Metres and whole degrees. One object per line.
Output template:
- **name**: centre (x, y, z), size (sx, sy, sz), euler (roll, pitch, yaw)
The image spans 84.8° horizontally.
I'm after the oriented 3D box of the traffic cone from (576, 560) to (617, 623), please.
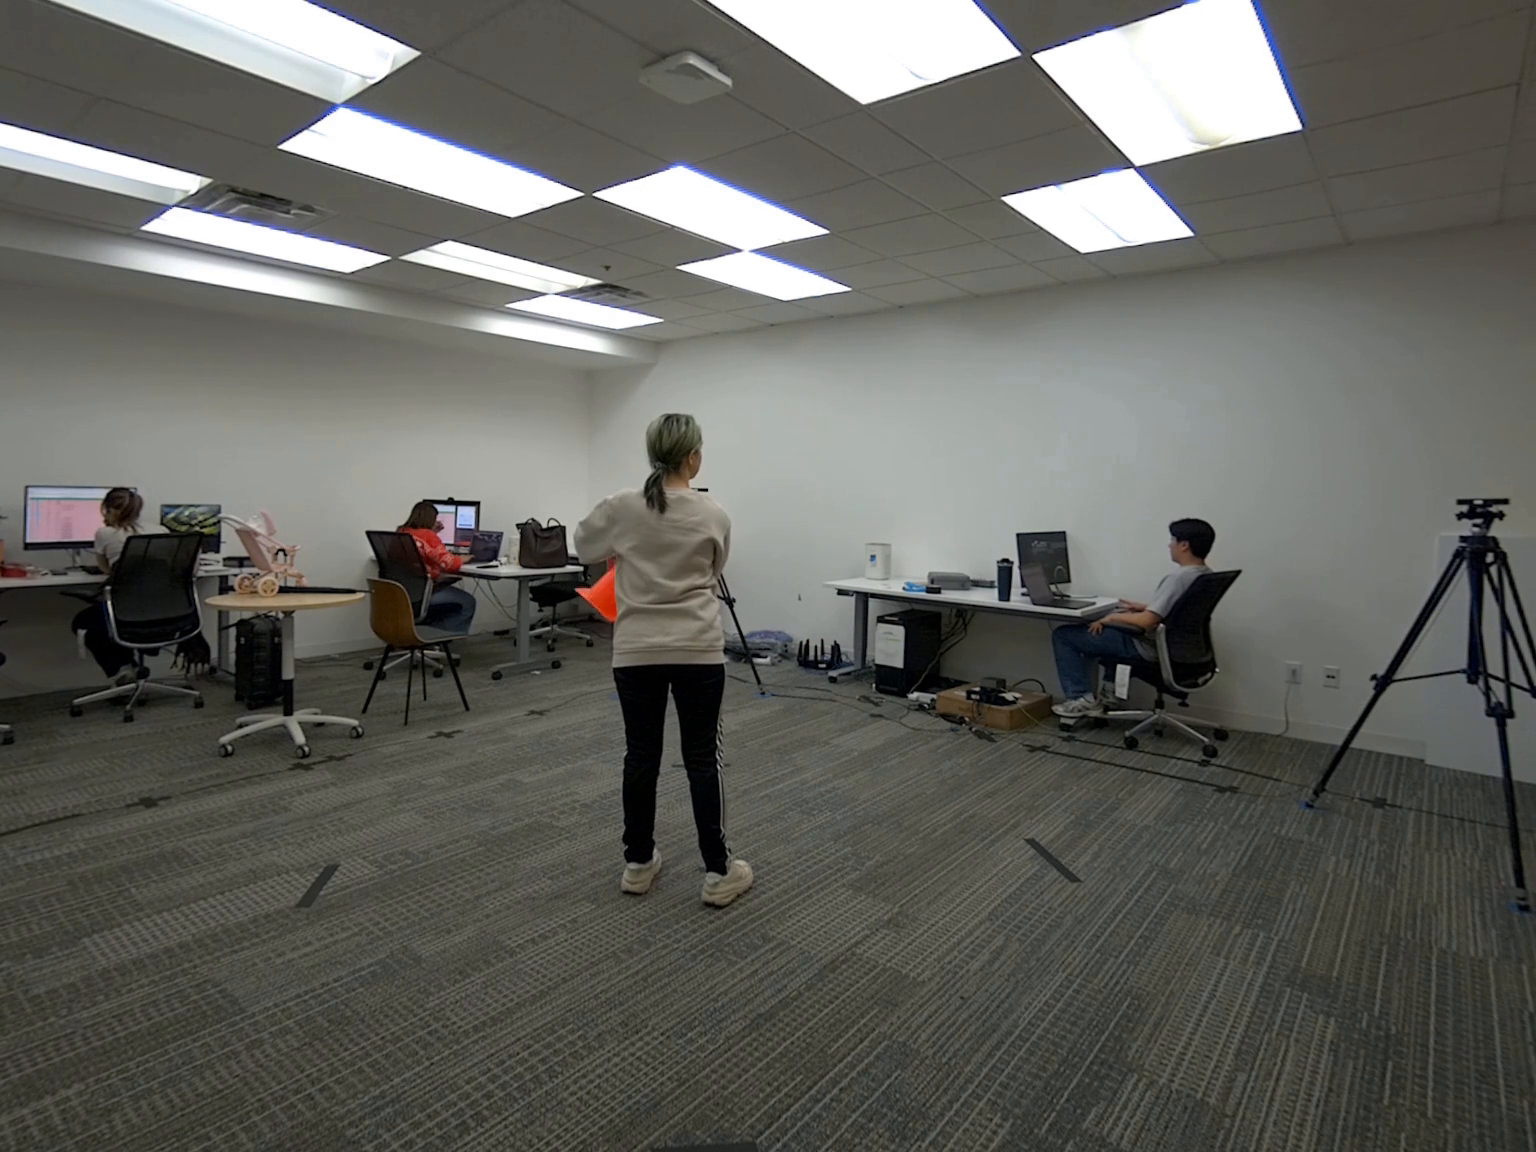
- **traffic cone**: centre (-0.548, -0.037, 3.362), size (0.211, 0.383, 0.198), euler (41, 9, 21)
